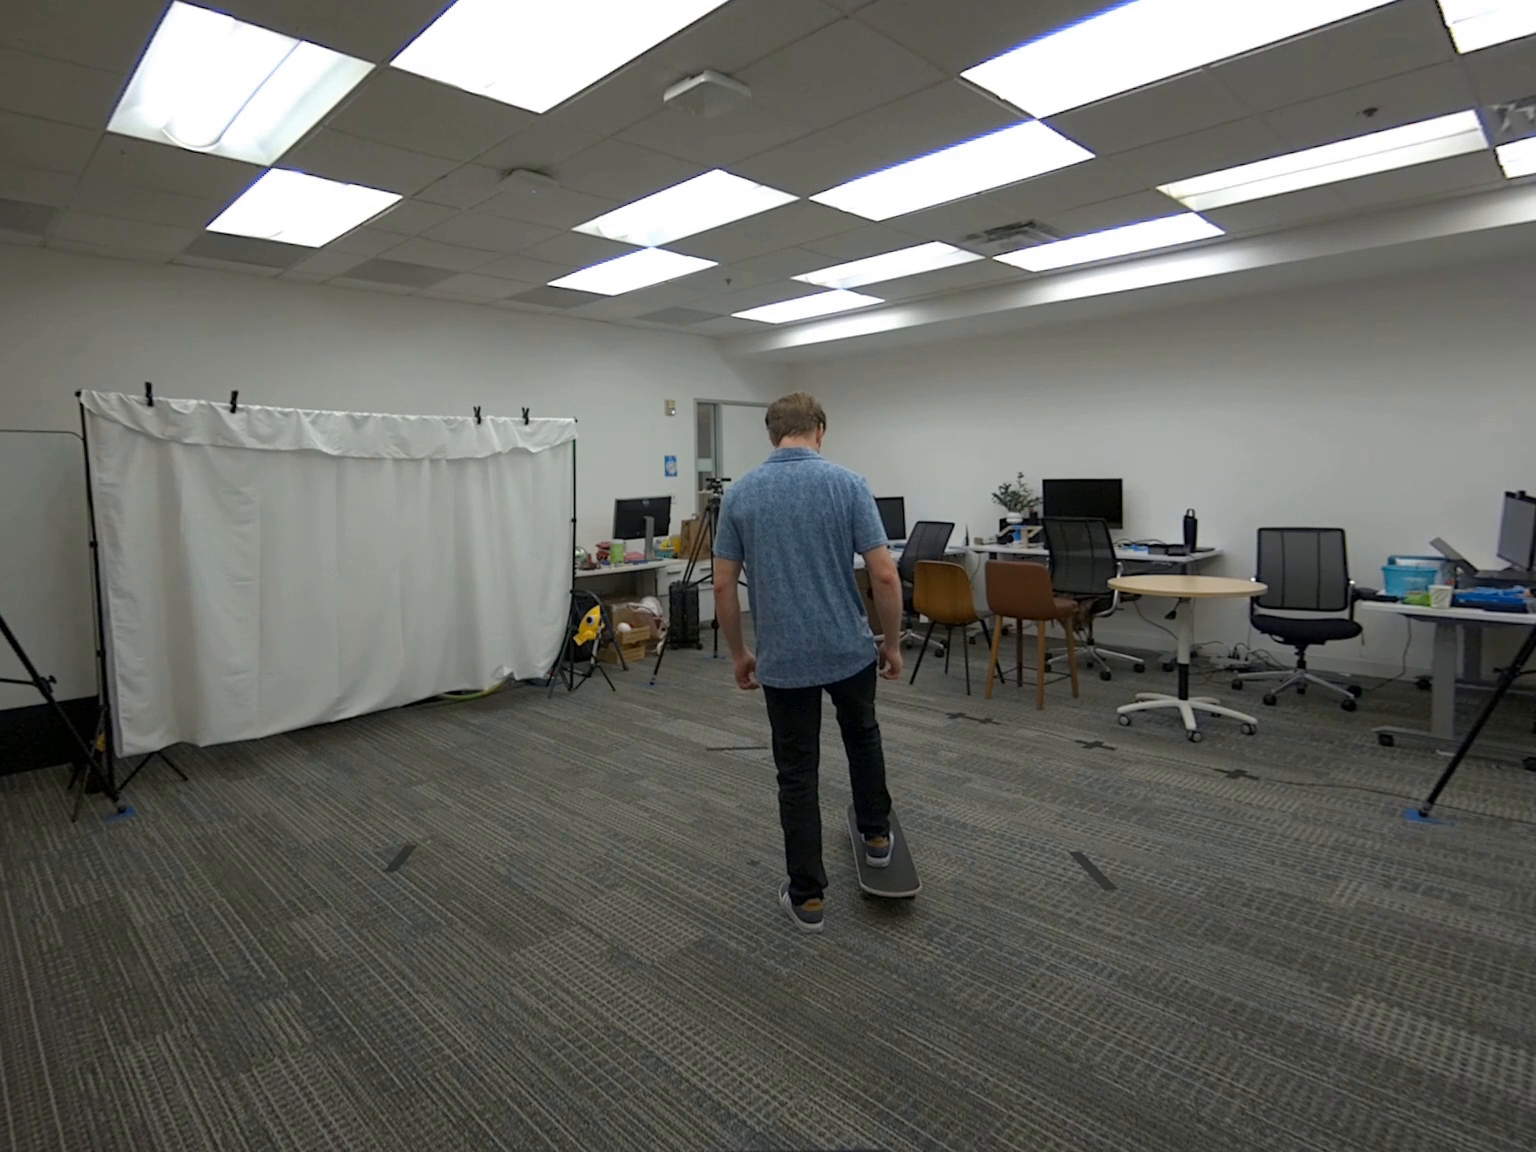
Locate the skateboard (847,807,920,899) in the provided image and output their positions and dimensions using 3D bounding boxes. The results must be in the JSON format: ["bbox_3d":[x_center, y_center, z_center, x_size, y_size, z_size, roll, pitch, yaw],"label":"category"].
[{"bbox_3d":[0.398,0.981,3.038,0.194,0.110,0.788,-3,7,1],"label":"skateboard"}]
